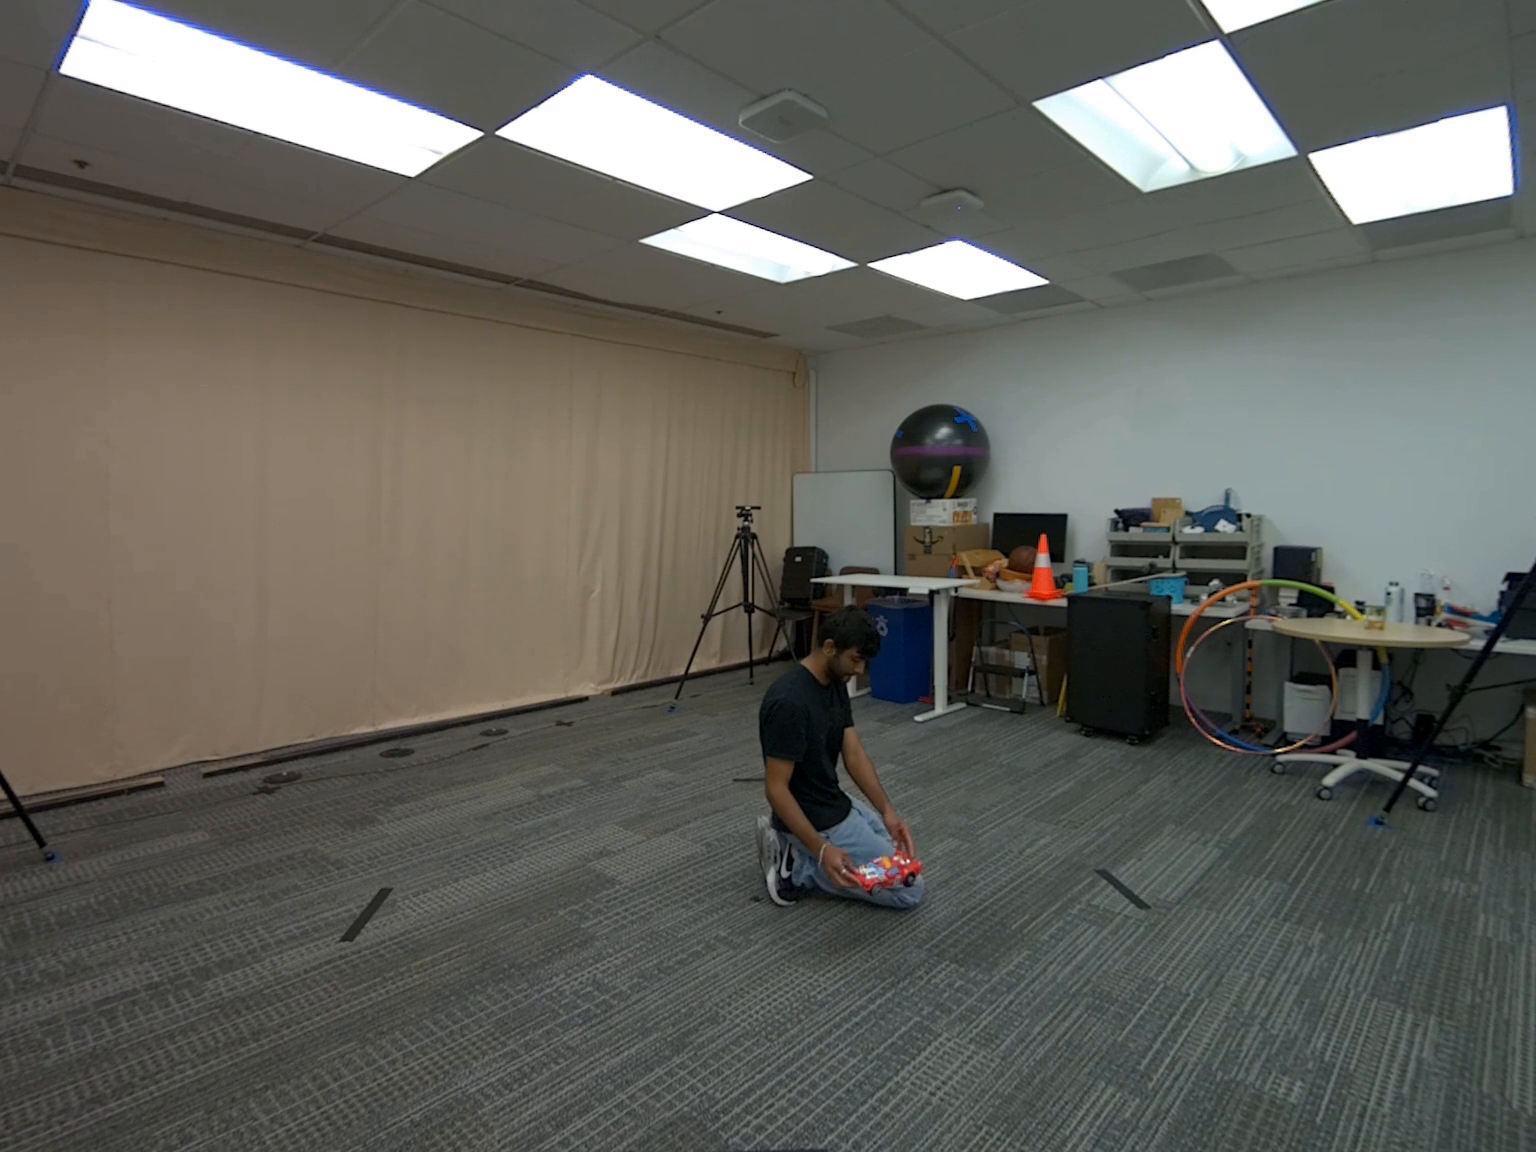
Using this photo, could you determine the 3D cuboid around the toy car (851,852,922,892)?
[{"bbox_3d":[0.366,0.927,2.617,0.249,0.082,0.134,-11,16,-29],"label":"toy car"}]
